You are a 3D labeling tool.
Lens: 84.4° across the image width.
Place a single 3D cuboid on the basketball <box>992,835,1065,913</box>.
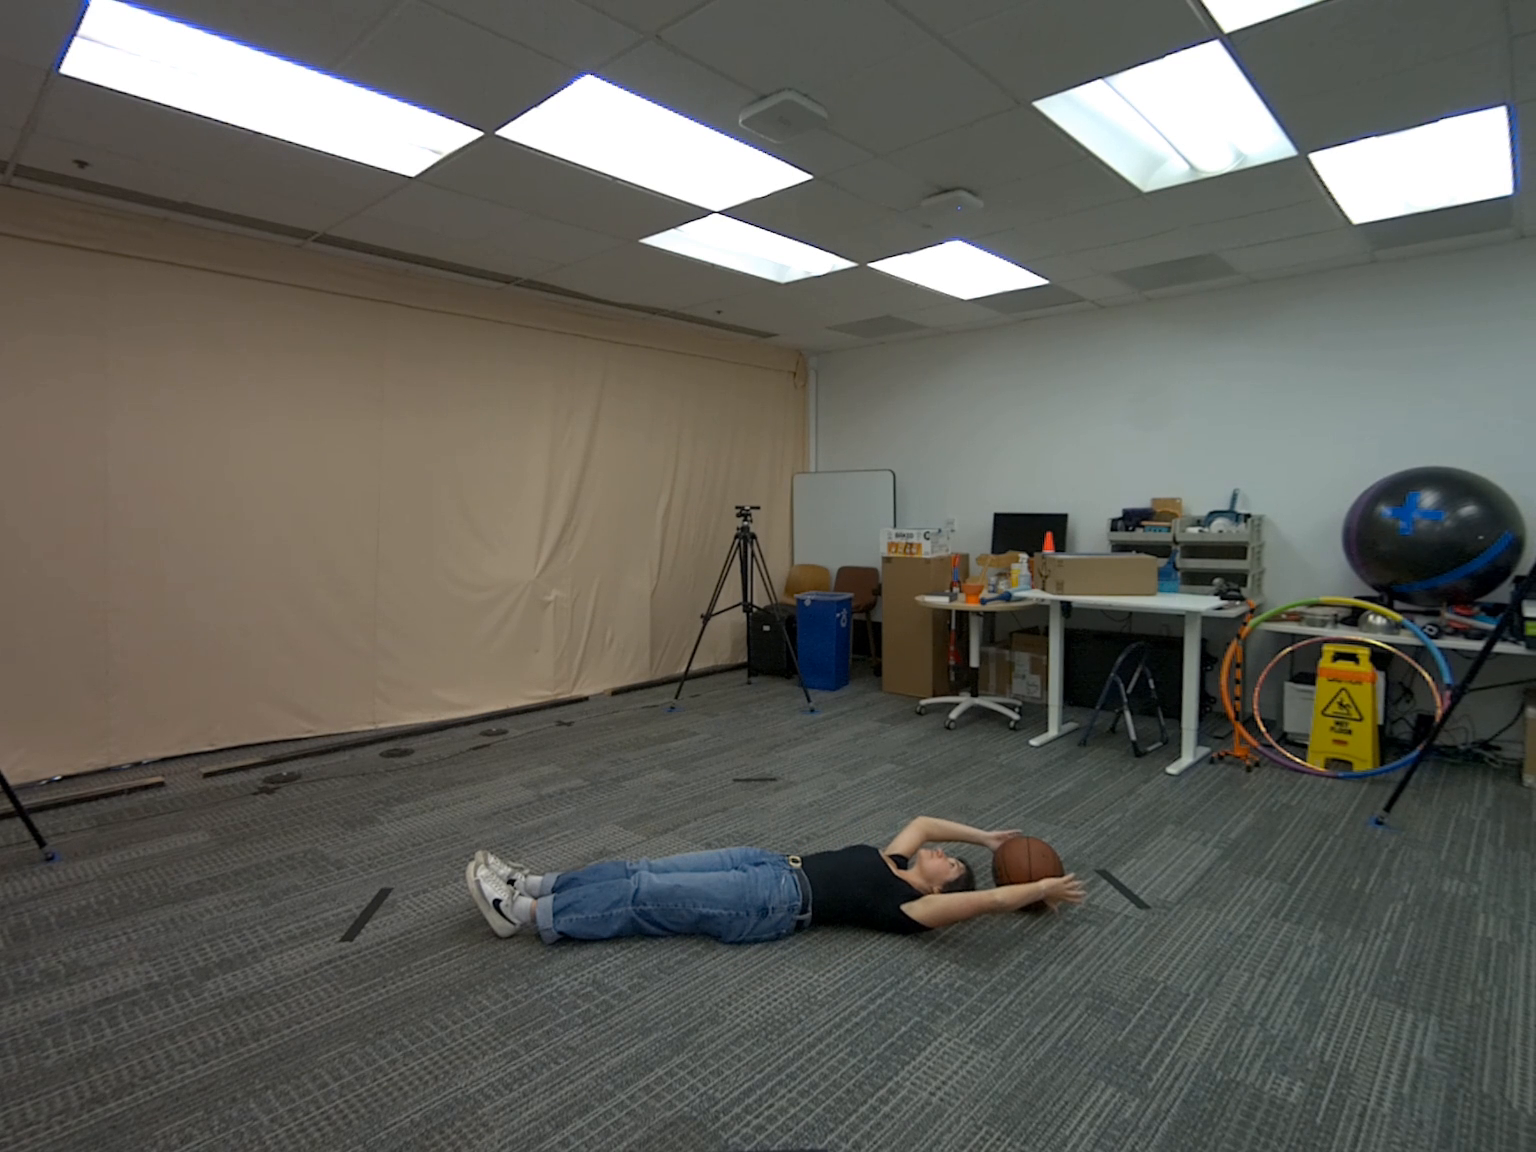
[{"bbox_3d":[0.909,1.025,2.927,0.236,0.235,0.237,0,4,-2],"label":"basketball"}]
